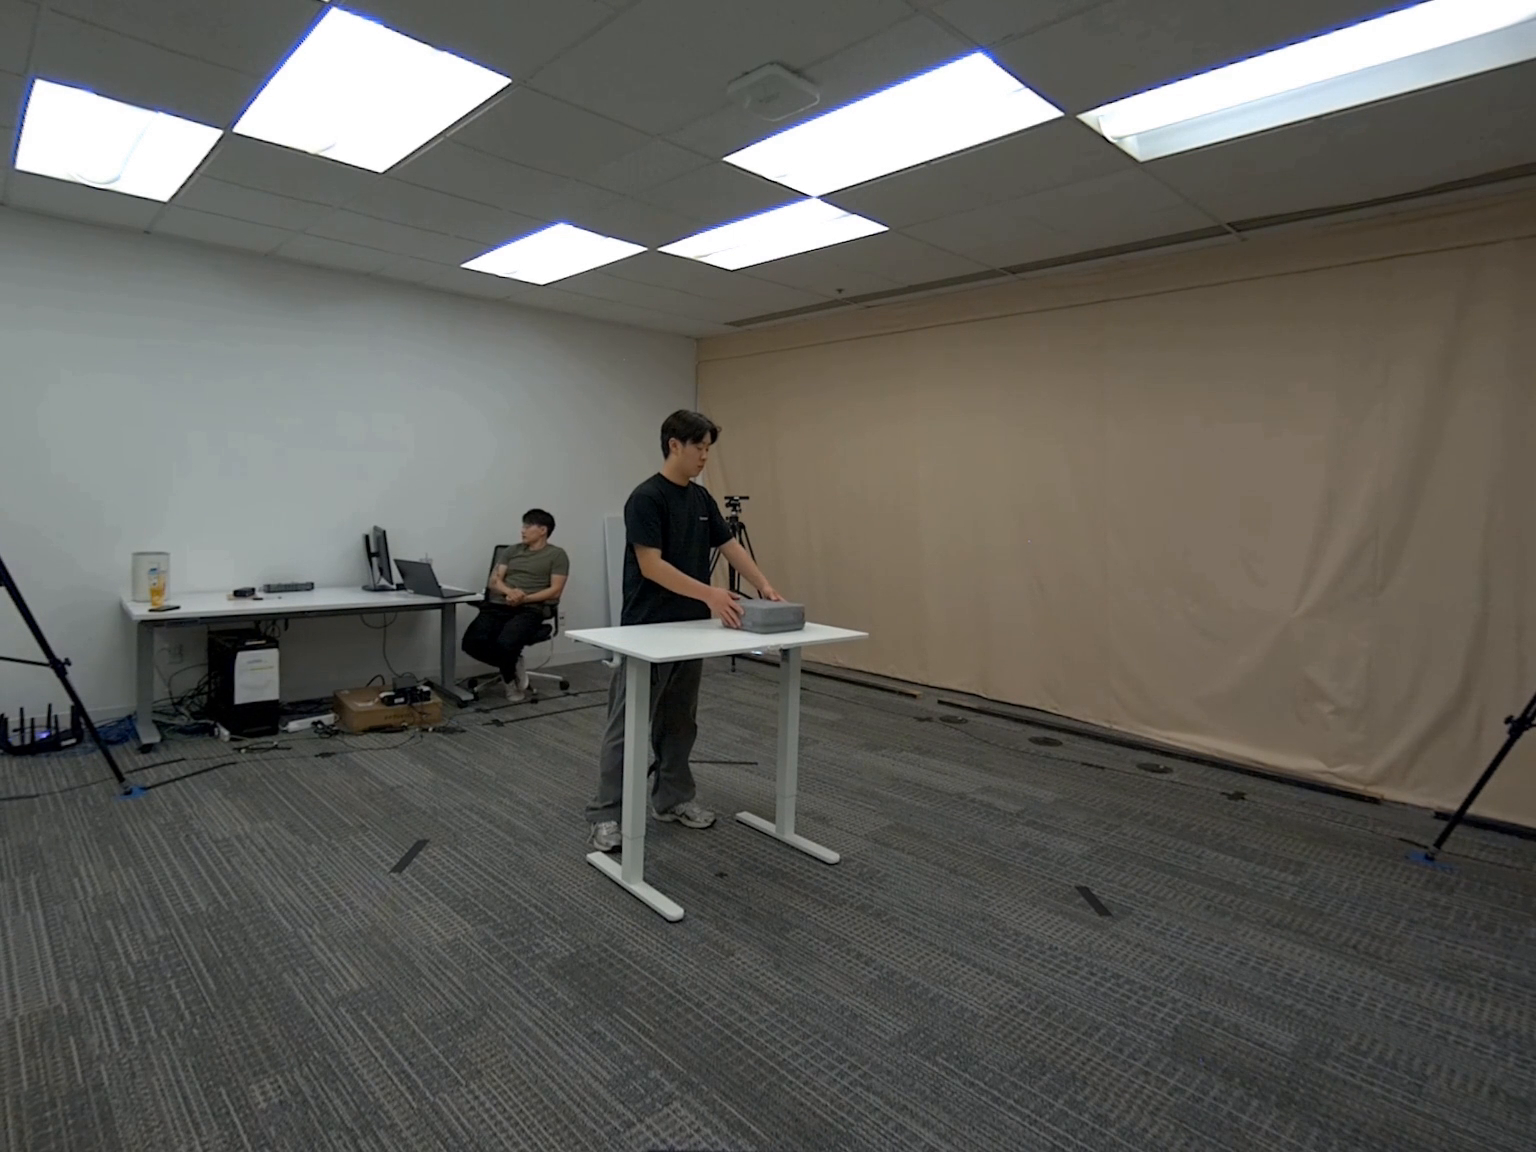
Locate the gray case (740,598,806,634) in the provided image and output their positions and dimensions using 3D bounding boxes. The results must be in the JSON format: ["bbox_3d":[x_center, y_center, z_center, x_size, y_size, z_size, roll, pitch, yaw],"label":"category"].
[{"bbox_3d":[-0.008,0.156,3.317,0.280,0.103,0.270,-2,6,-41],"label":"gray case"}]
